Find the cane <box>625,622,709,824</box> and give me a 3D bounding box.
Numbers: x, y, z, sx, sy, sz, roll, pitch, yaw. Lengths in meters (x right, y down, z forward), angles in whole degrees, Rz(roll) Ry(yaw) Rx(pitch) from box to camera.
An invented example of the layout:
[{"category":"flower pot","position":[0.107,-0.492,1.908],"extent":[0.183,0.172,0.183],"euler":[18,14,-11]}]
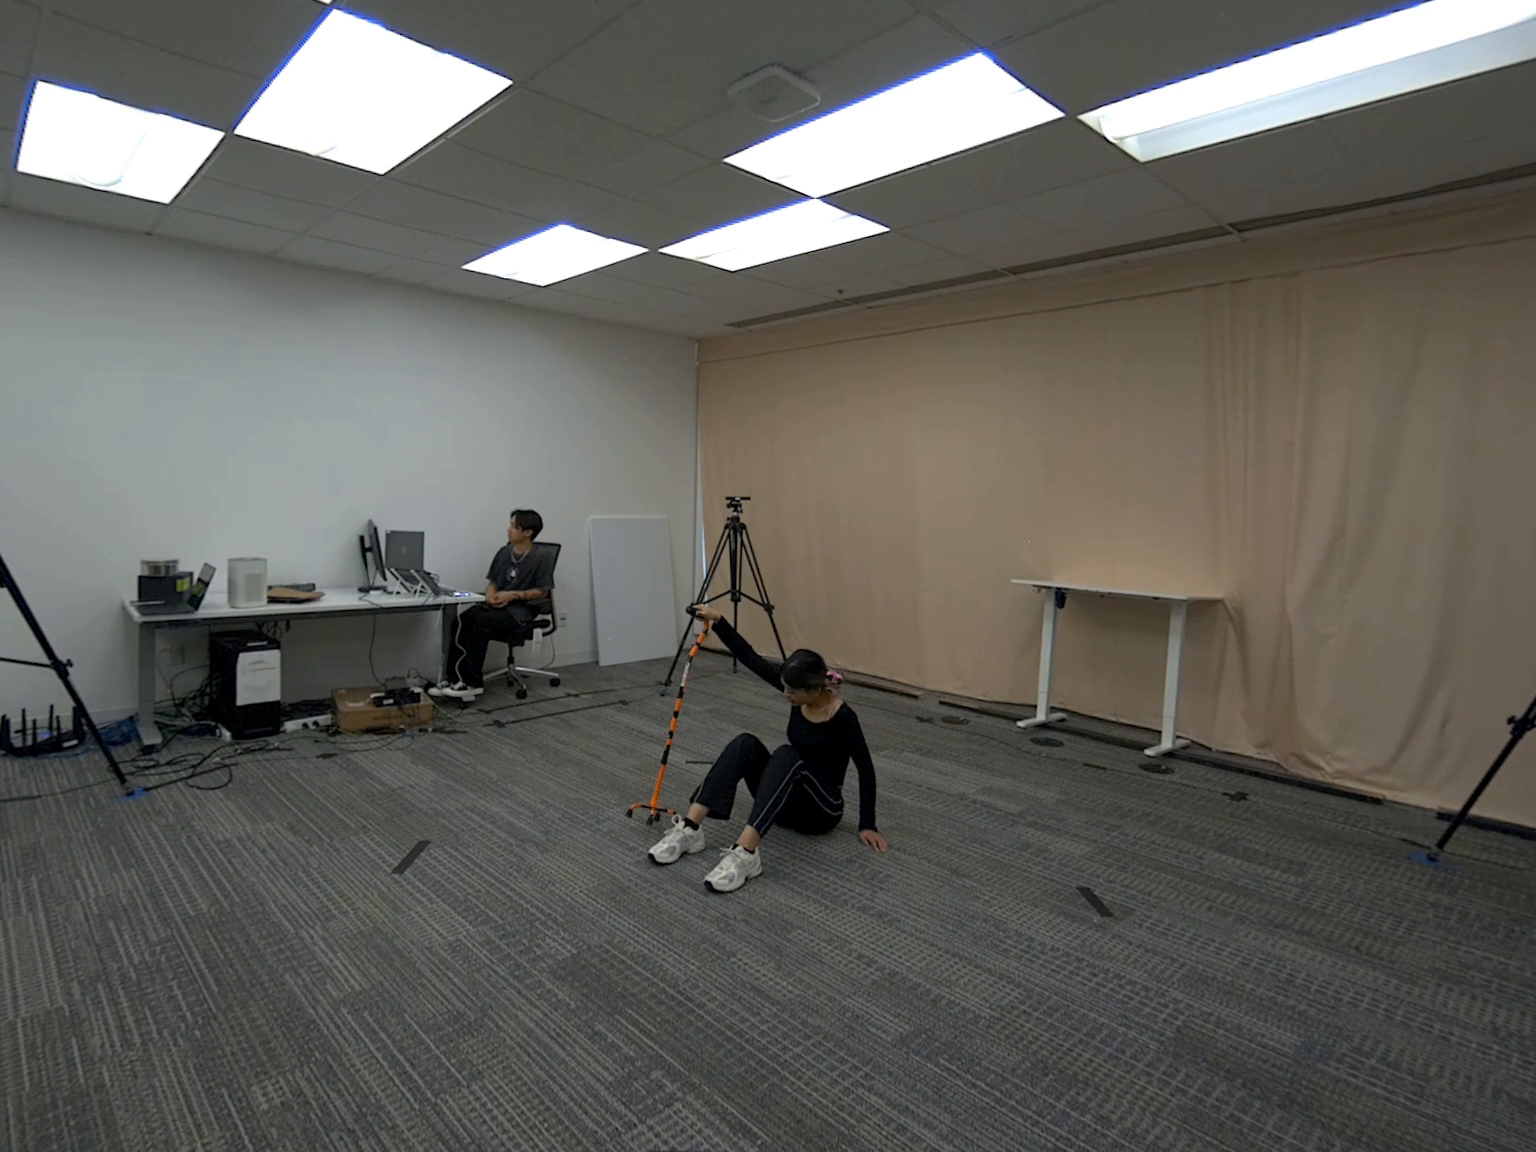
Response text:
[{"category":"cane","position":[-0.387,0.588,3.608],"extent":[0.155,0.913,0.200],"euler":[5,-13,35]}]
